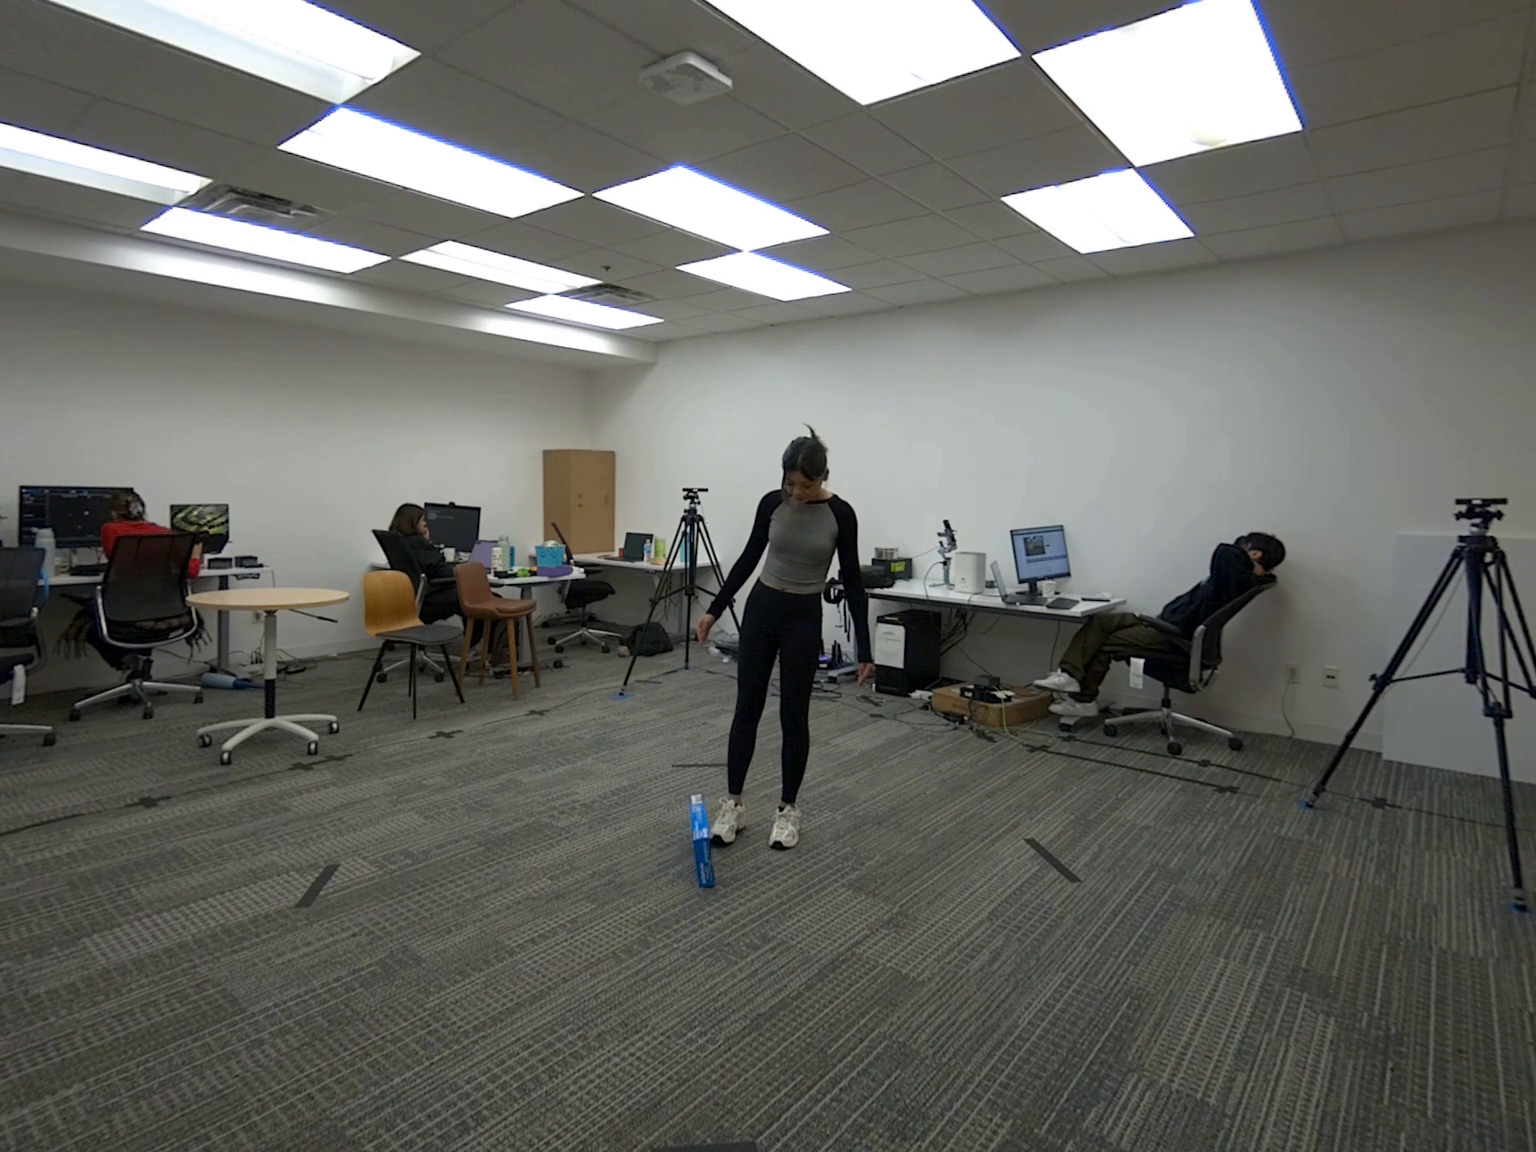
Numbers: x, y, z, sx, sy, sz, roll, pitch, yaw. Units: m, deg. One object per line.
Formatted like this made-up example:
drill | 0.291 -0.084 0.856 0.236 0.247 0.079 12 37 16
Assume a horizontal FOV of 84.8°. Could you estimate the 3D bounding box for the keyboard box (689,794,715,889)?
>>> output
keyboard box | -0.258 0.970 3.176 0.059 0.175 0.441 -5 6 -6
